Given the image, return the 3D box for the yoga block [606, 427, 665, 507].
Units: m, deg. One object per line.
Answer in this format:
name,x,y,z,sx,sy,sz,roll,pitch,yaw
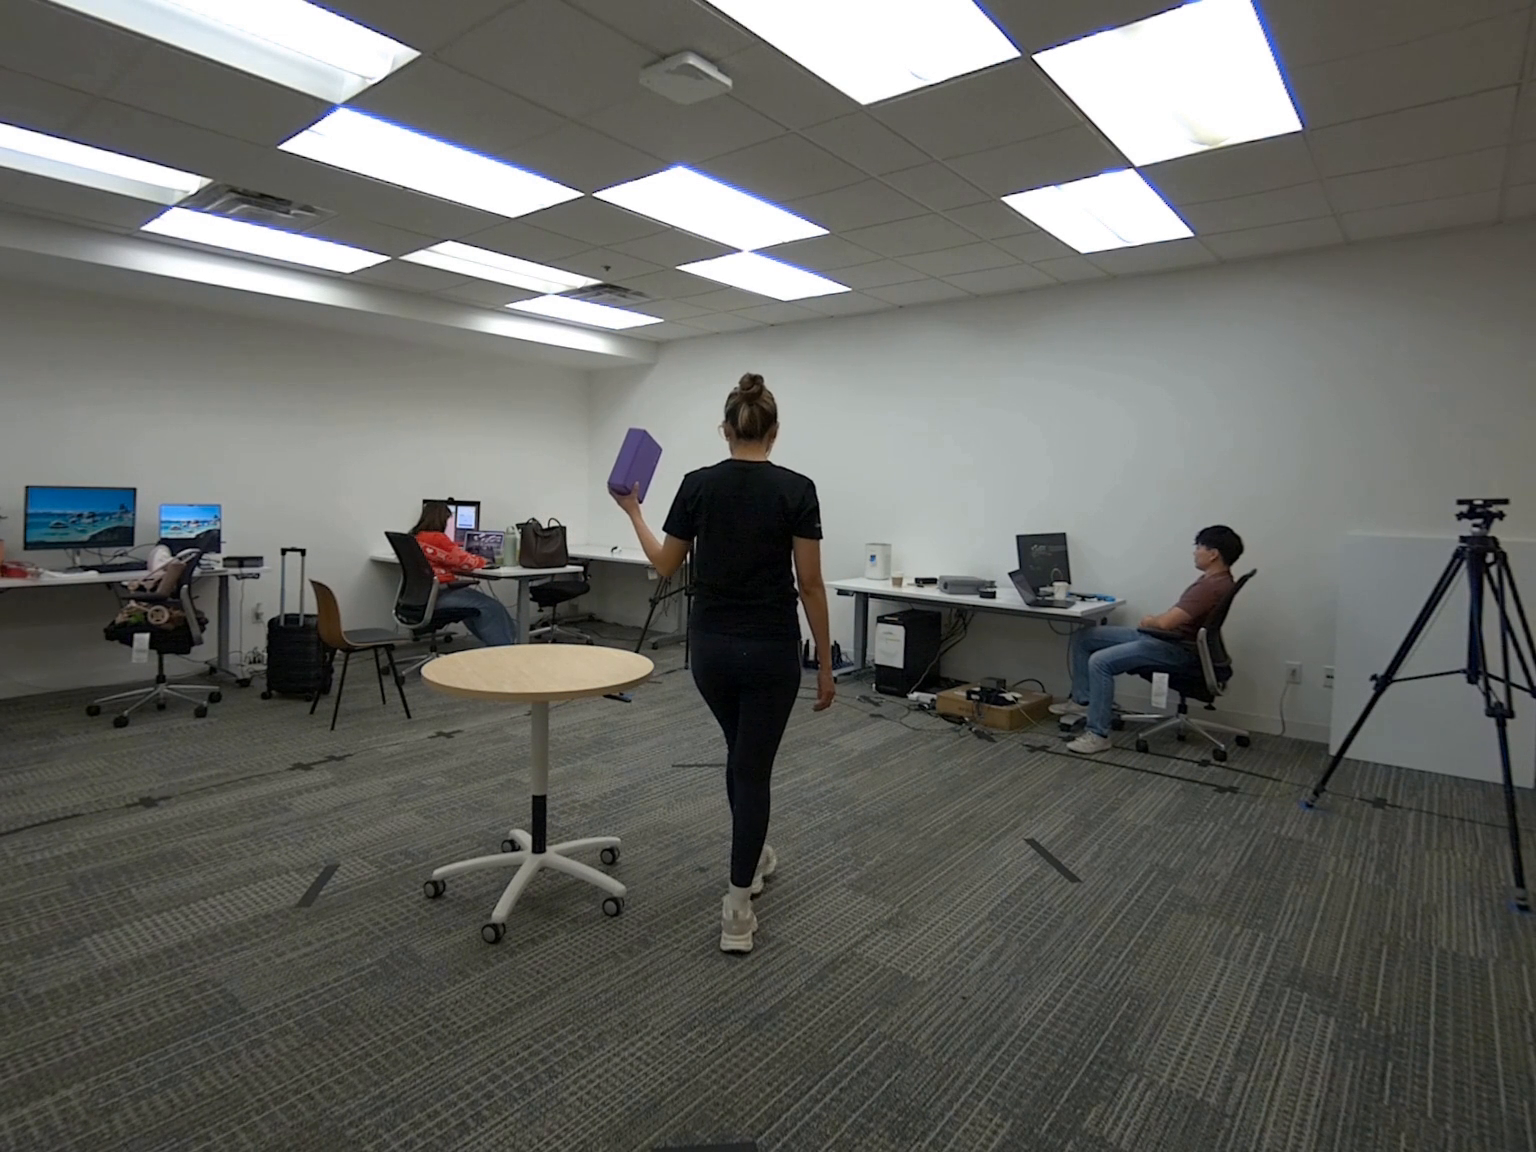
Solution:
yoga block,-0.468,-0.387,2.972,0.078,0.231,0.143,9,-19,25
